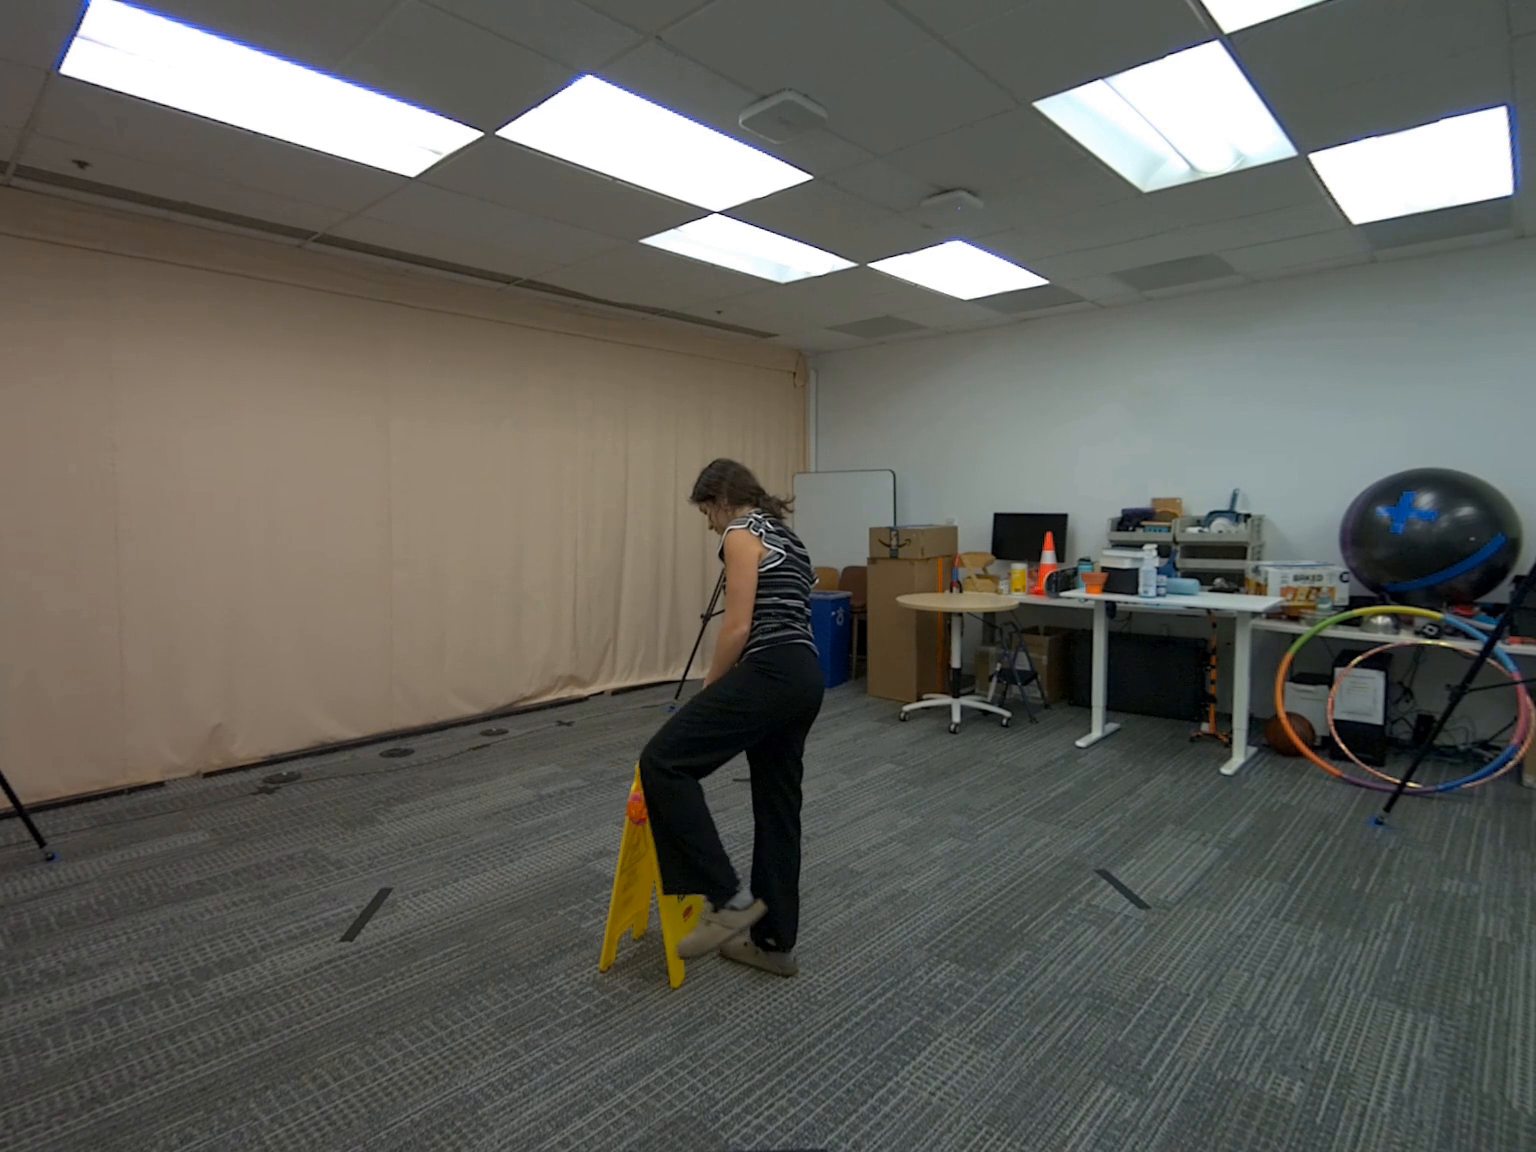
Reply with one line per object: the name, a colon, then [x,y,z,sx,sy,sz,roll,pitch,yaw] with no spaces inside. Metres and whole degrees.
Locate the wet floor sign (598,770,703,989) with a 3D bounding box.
wet floor sign: [-0.346,0.859,2.577,0.296,0.645,0.276,-1,2,21]
